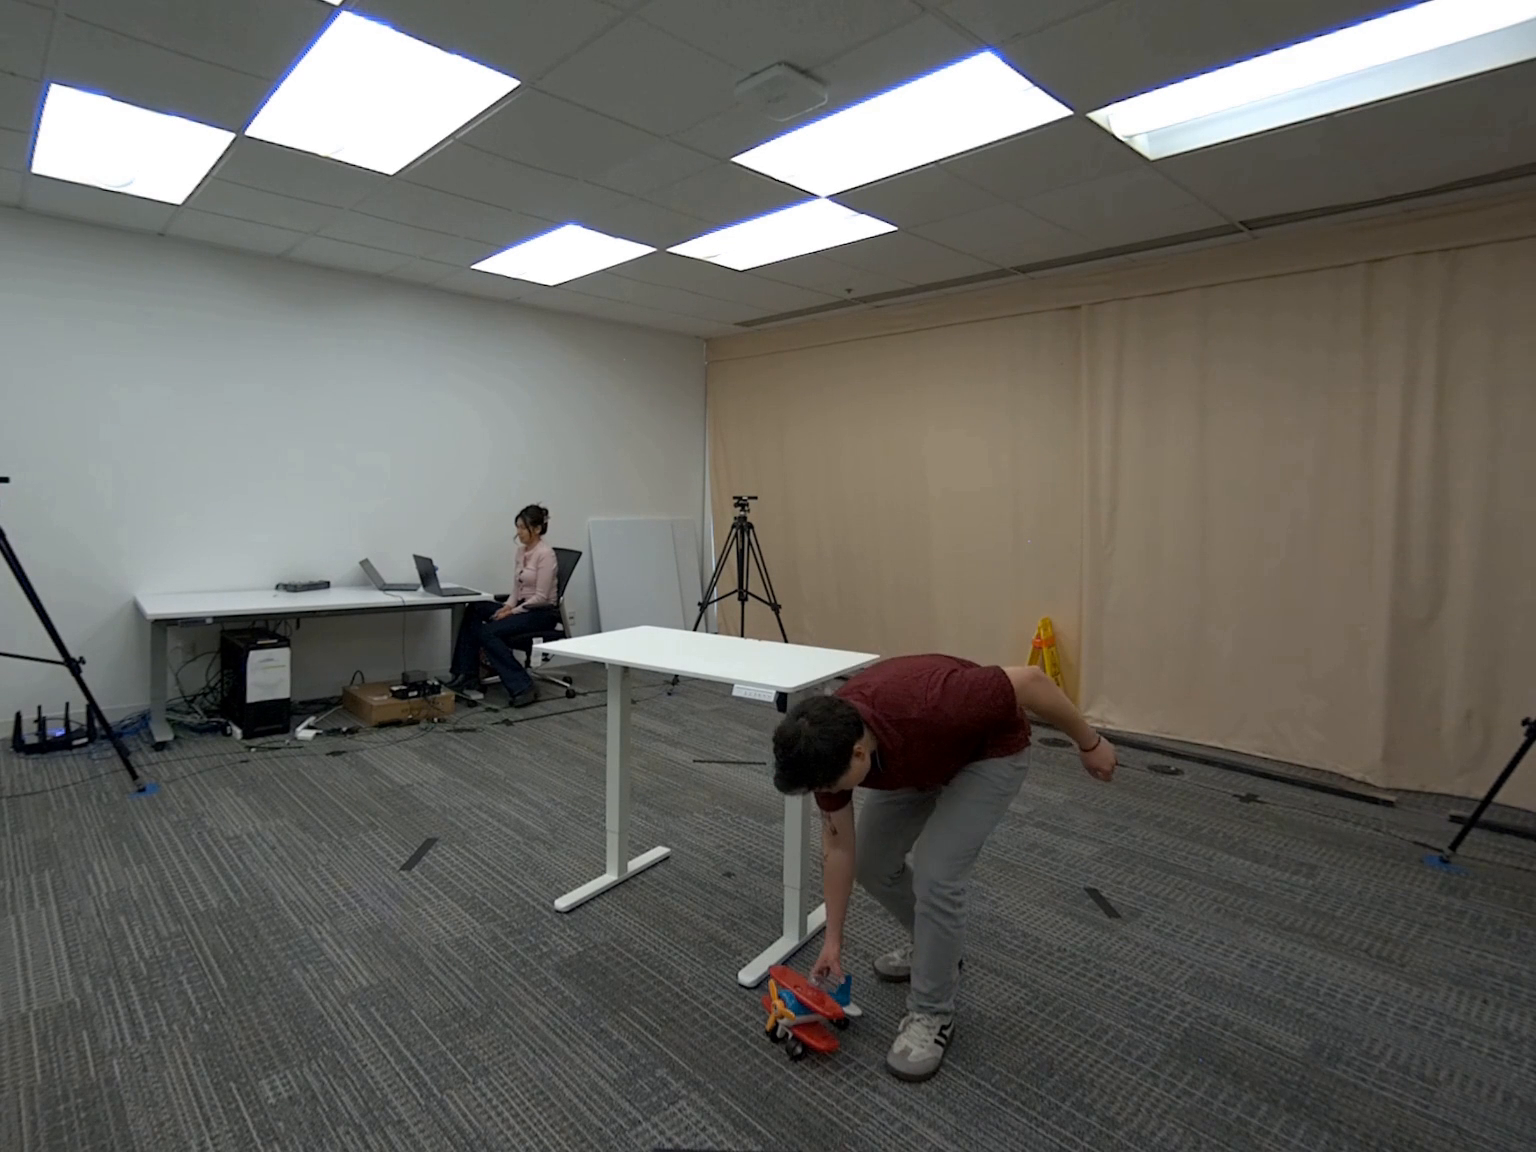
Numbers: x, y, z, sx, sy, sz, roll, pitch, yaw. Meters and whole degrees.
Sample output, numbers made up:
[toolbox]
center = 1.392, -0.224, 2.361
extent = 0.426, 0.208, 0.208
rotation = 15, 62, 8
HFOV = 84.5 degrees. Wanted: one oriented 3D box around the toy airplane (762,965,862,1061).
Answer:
[toy airplane]
center = 0.098, 1.124, 2.184
extent = 0.256, 0.156, 0.255
rotation = 4, 7, 24
